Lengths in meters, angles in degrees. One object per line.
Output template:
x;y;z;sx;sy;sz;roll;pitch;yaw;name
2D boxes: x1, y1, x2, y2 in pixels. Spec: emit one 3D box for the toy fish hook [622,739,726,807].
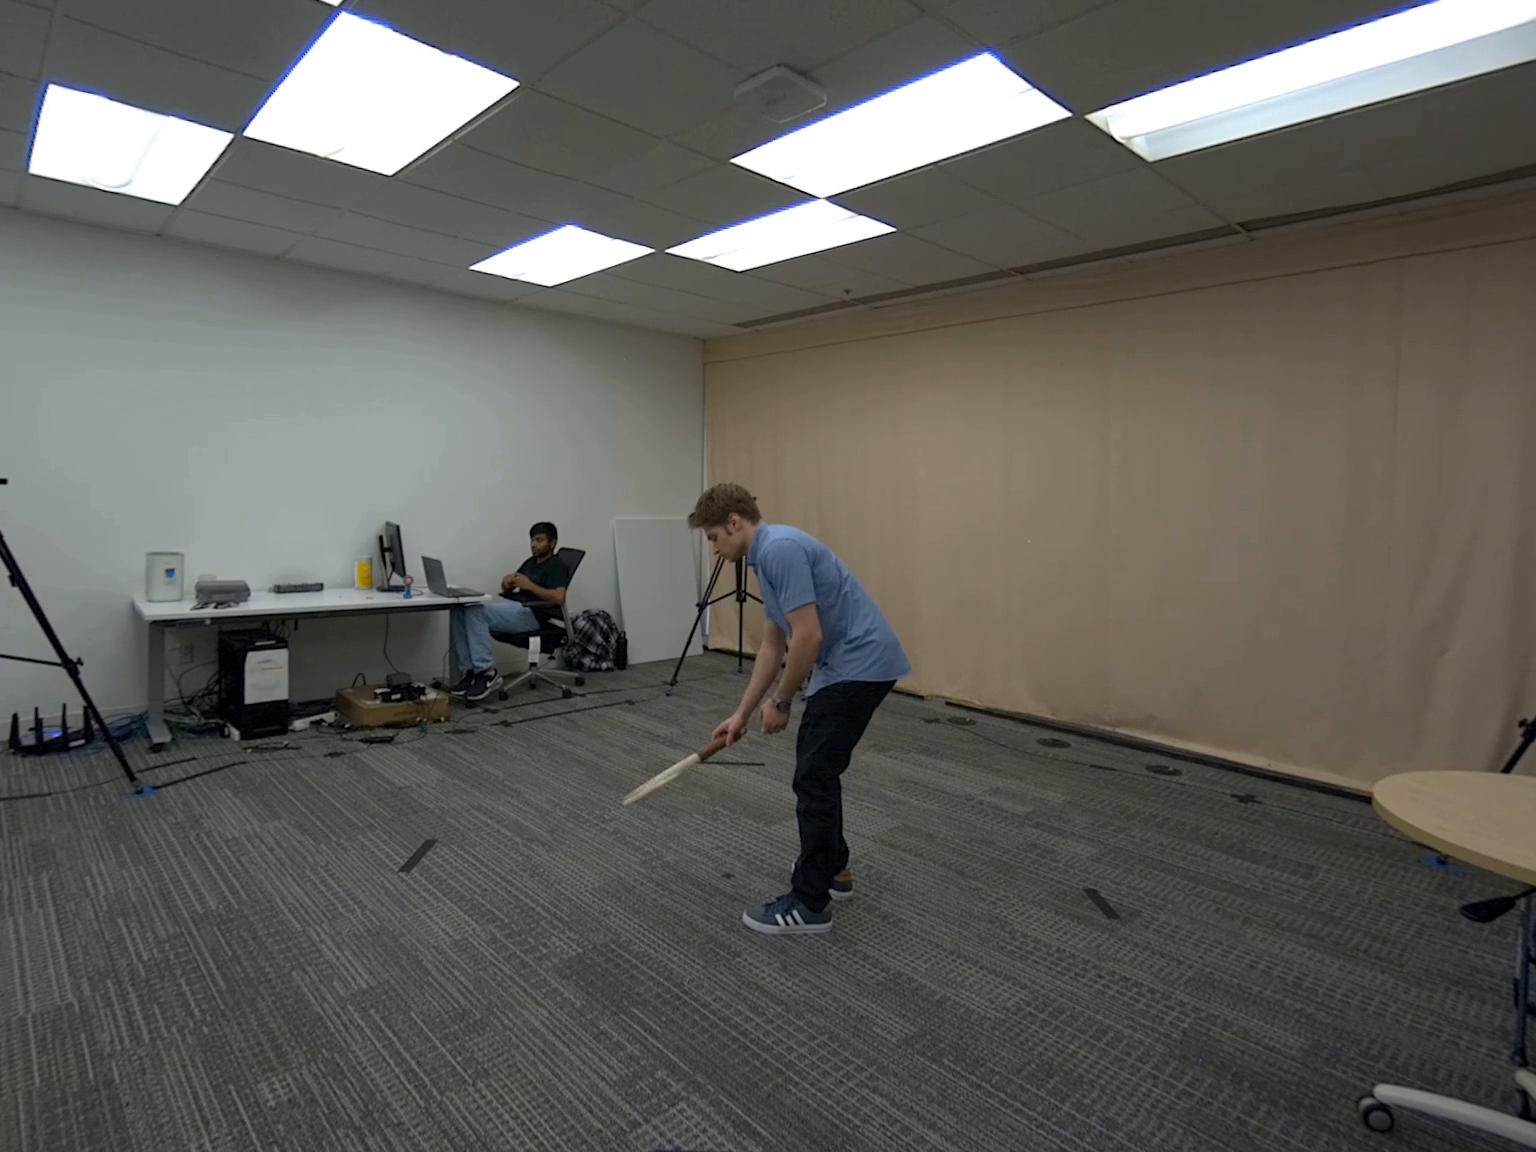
-0.270;0.658;2.880;0.503;0.048;0.225;-28;-3;-19;toy fish hook
